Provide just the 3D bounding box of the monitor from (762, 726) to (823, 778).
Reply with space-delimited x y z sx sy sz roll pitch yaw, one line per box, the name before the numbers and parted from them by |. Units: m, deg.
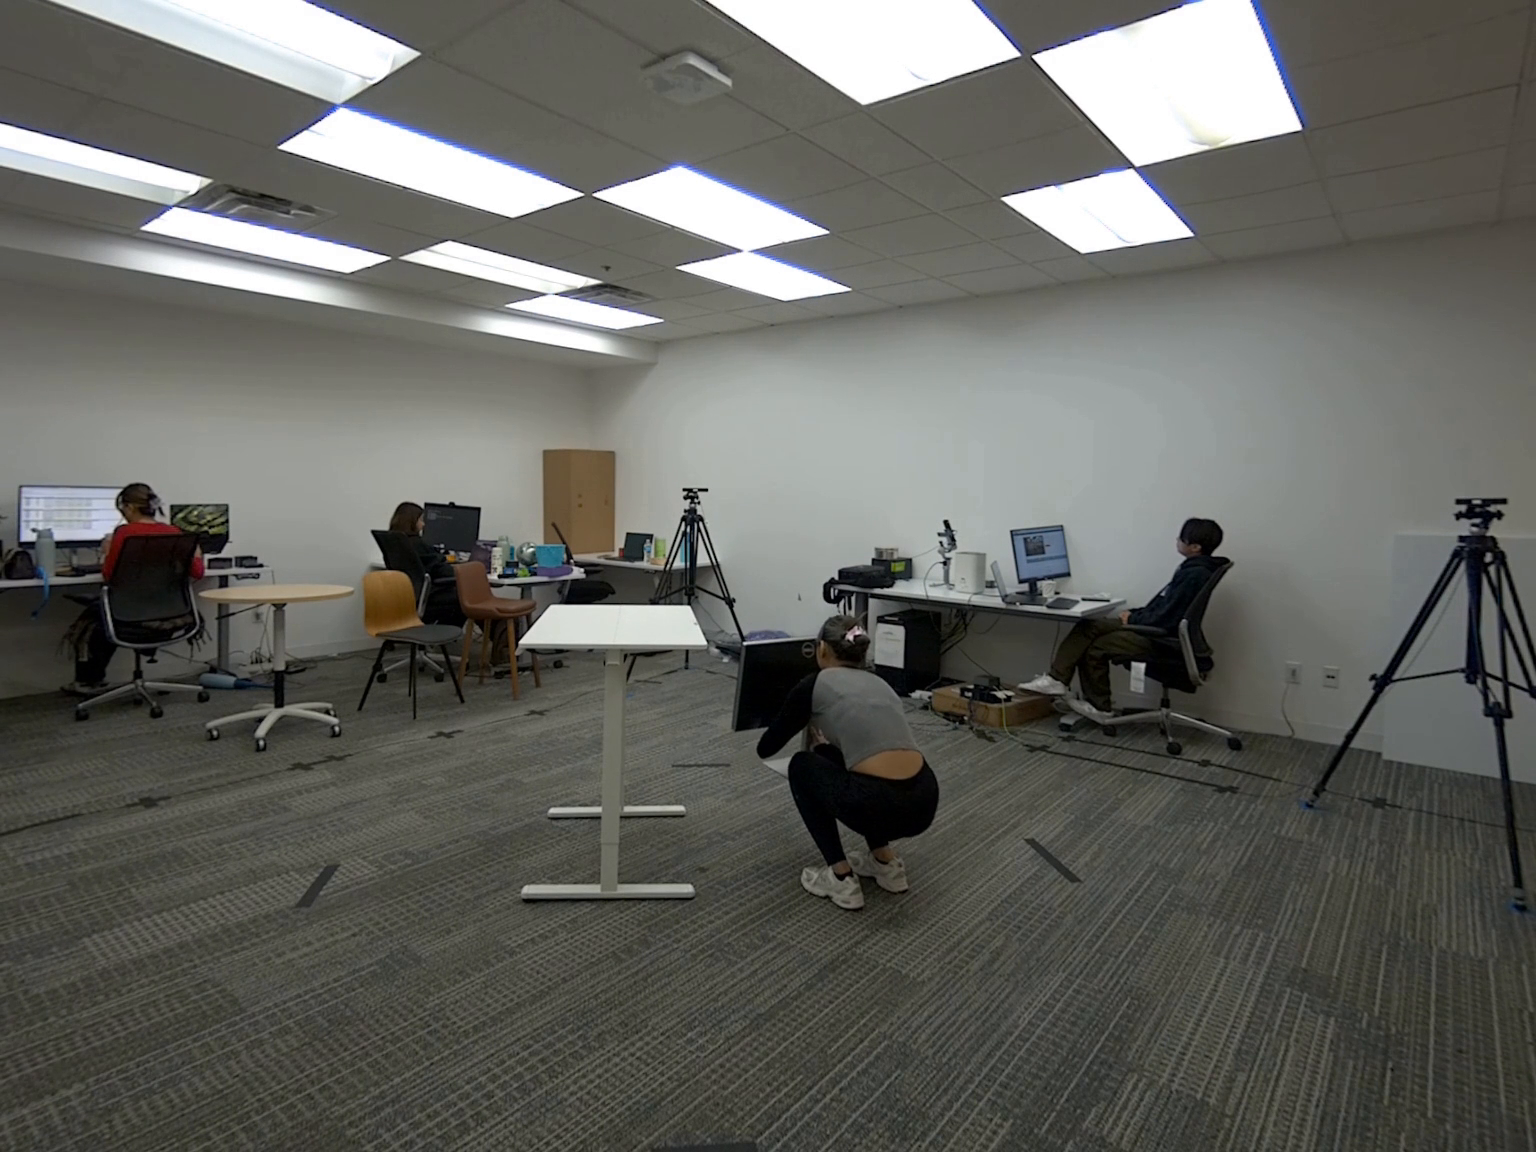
monitor | 0.137 0.500 3.349 0.524 0.521 0.193 -2 4 -32
